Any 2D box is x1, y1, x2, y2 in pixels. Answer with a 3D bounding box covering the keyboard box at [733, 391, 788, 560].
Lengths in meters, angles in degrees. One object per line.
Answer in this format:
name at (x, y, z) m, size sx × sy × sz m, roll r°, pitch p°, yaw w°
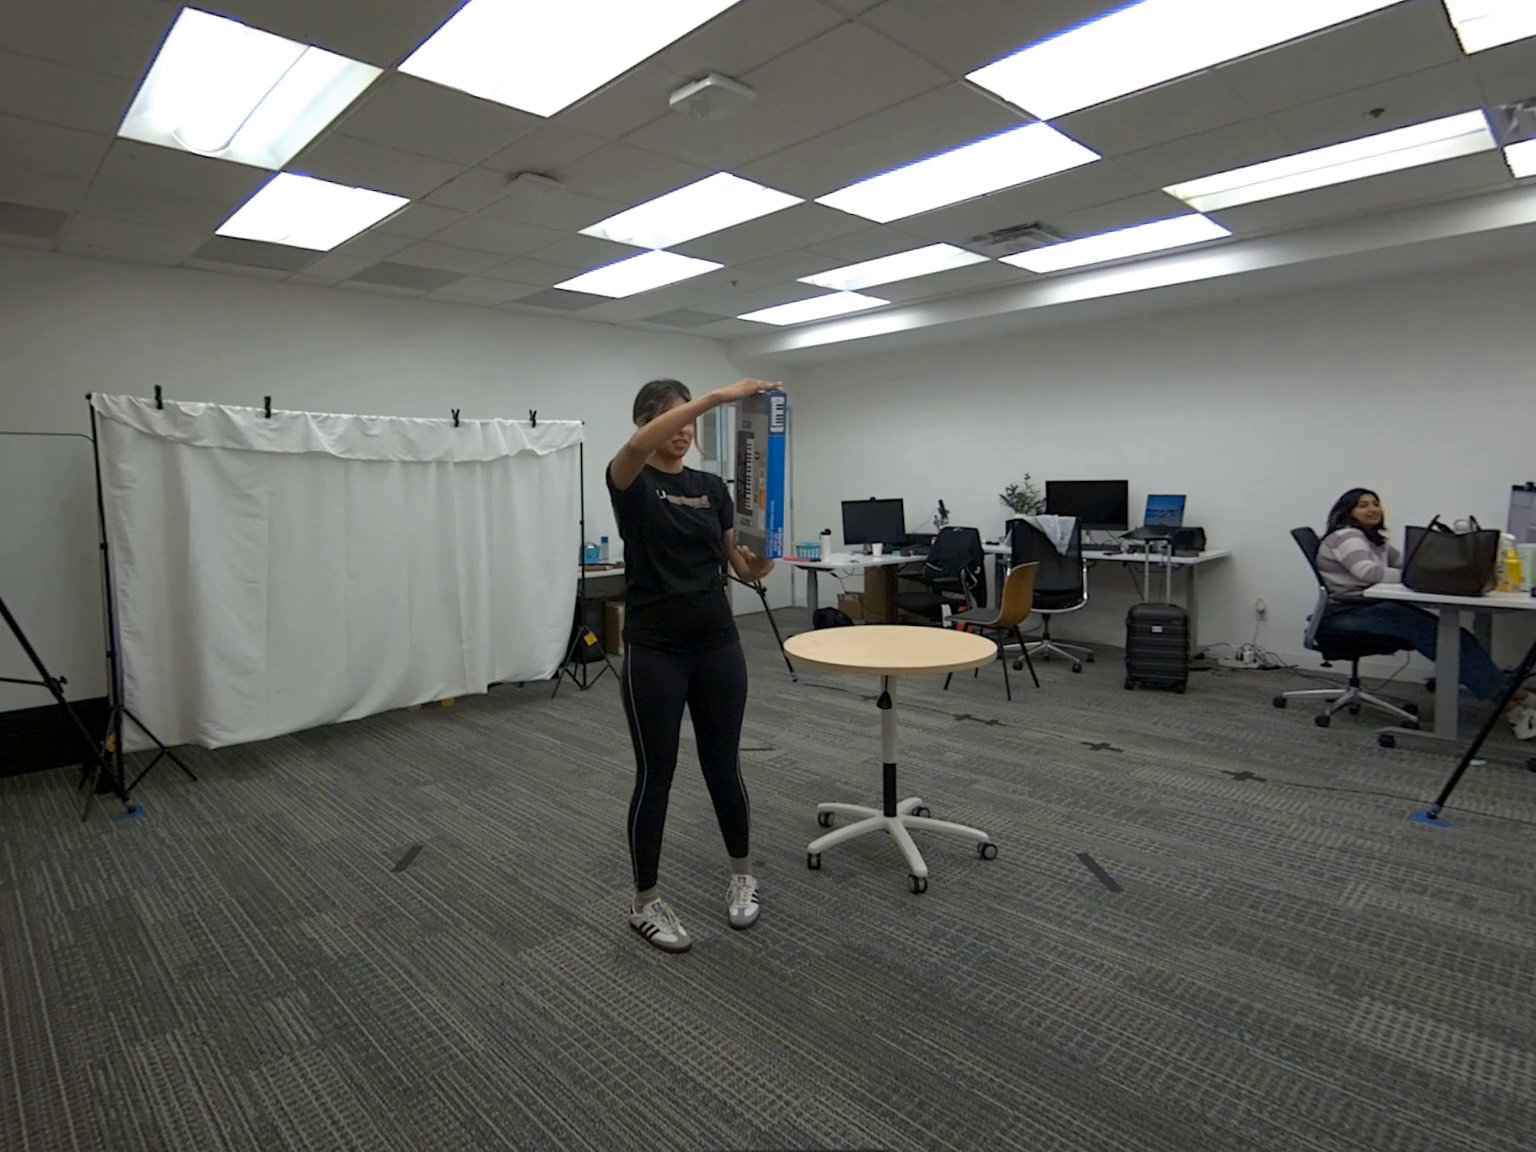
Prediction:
keyboard box at (-0.022, -0.272, 2.309) m, size 0.058 × 0.433 × 0.181 m, roll -5°, pitch 11°, yaw -31°
